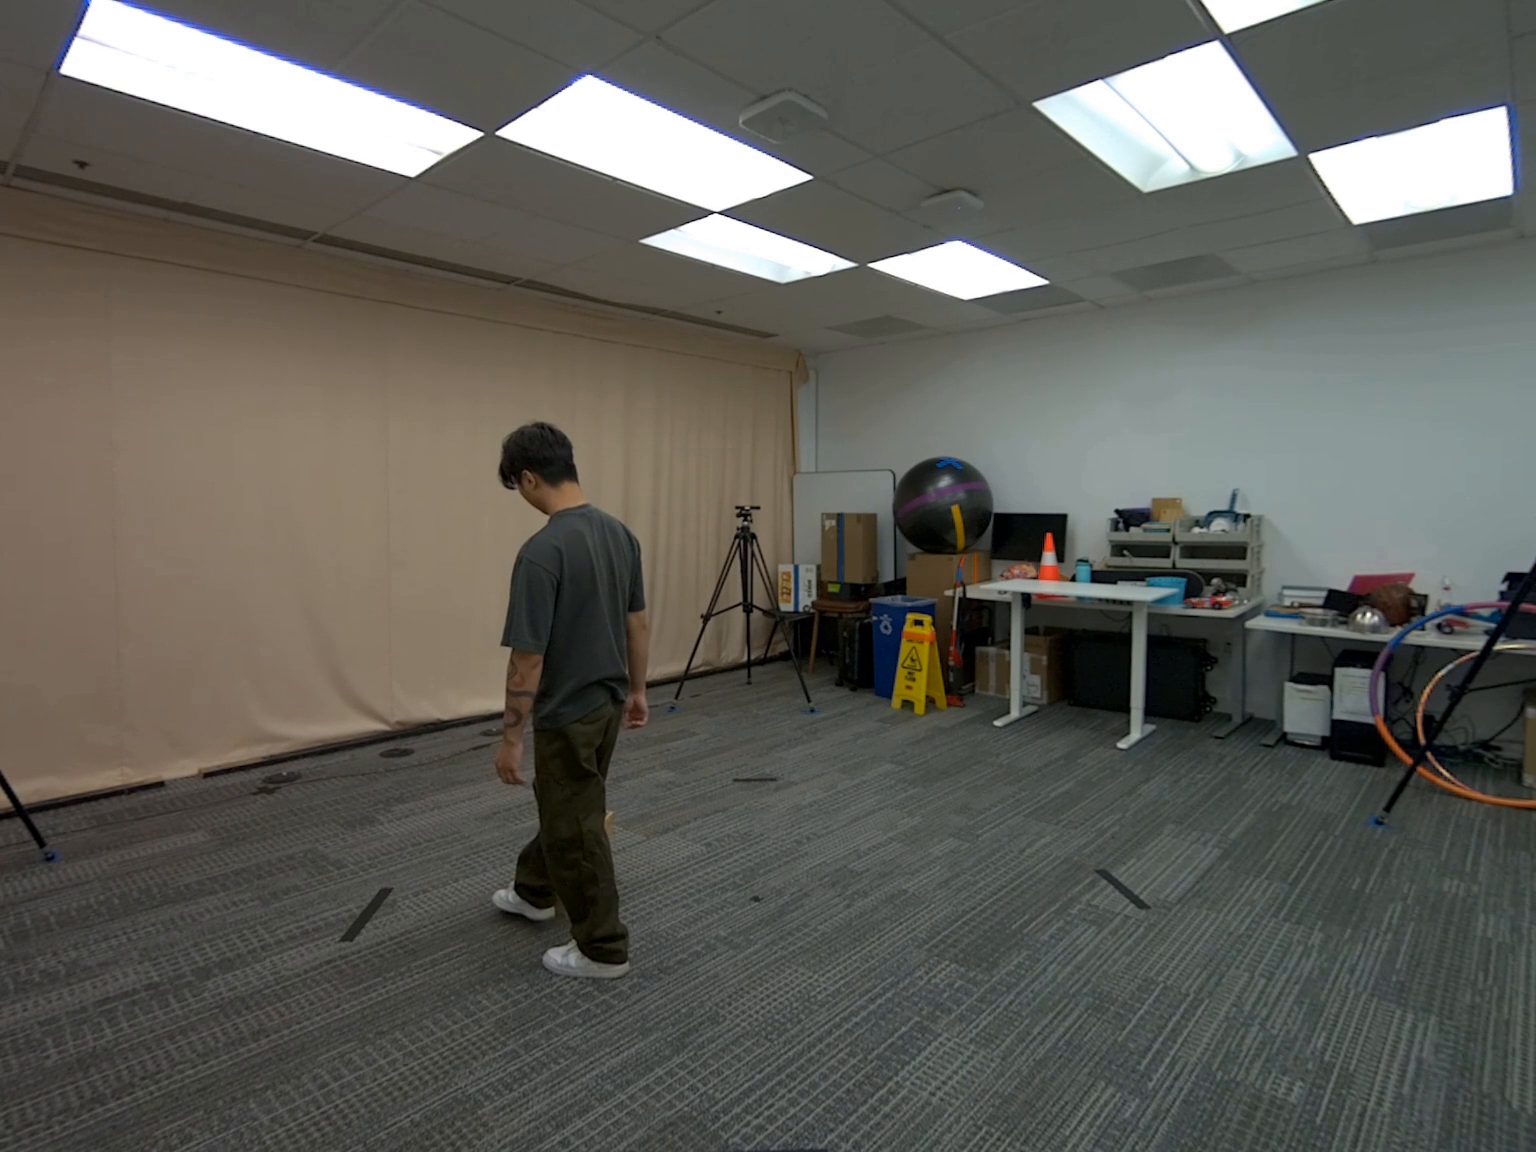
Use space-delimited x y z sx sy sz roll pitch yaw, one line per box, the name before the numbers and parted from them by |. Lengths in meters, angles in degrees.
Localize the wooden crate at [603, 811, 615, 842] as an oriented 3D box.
wooden crate | -0.760 1.016 3.025 0.307 0.273 0.320 2 4 14
